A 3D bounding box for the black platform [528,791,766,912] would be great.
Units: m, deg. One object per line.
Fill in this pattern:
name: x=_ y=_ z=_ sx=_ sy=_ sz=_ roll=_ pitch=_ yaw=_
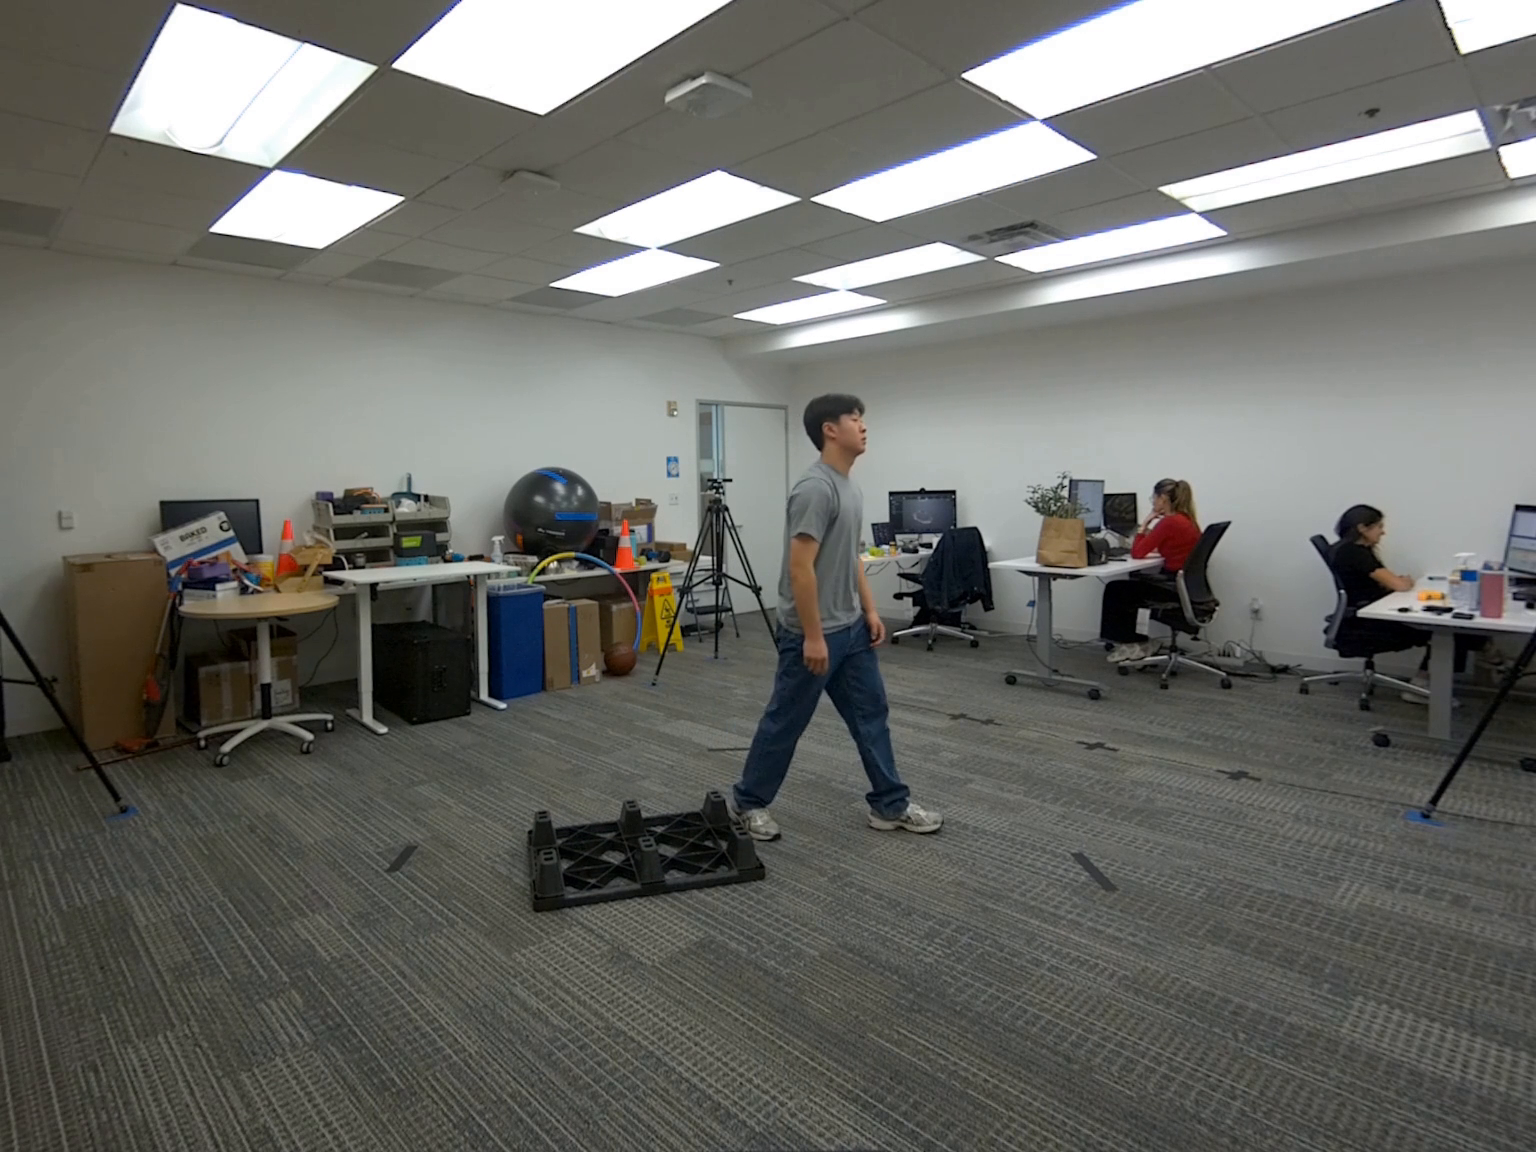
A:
black platform: x=-0.467 y=0.978 z=3.166 sx=0.794 sy=0.143 sz=0.617 roll=-3 pitch=7 yaw=-16
